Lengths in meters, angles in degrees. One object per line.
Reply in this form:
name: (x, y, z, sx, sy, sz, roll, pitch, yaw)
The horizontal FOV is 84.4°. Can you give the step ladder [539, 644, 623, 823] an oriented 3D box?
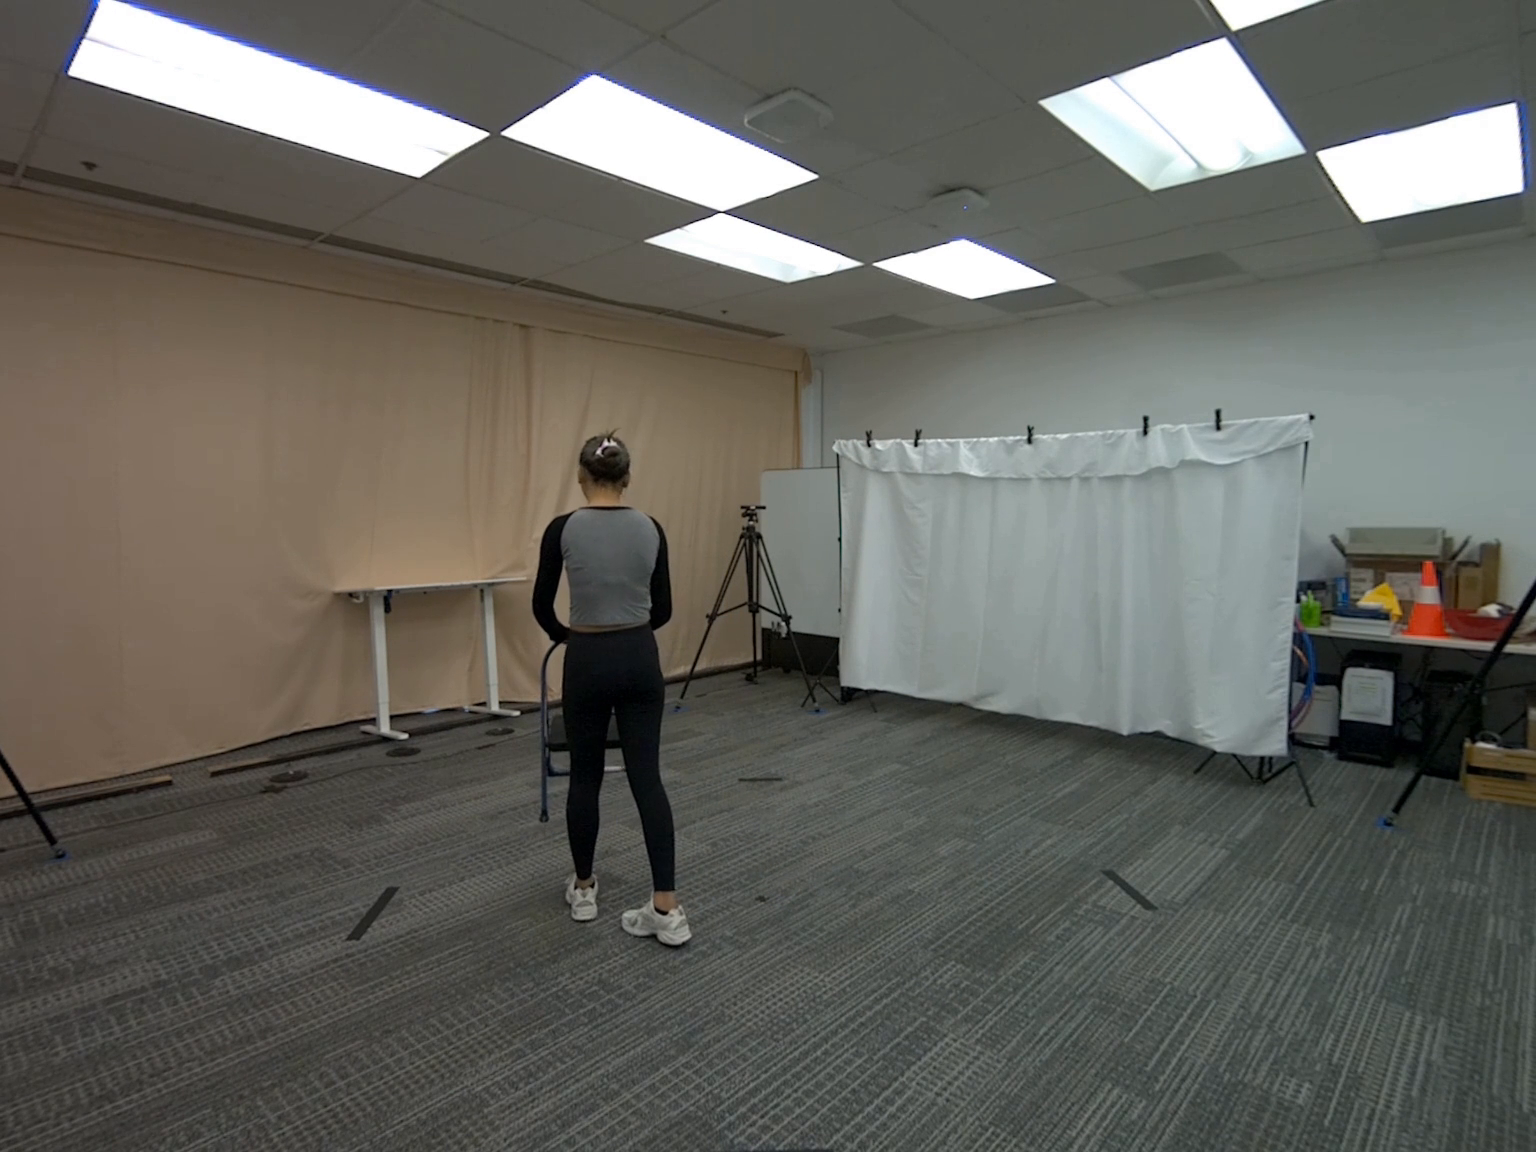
step ladder: (-0.630, 0.527, 3.082, 0.426, 0.601, 0.356, -2, 14, -11)
